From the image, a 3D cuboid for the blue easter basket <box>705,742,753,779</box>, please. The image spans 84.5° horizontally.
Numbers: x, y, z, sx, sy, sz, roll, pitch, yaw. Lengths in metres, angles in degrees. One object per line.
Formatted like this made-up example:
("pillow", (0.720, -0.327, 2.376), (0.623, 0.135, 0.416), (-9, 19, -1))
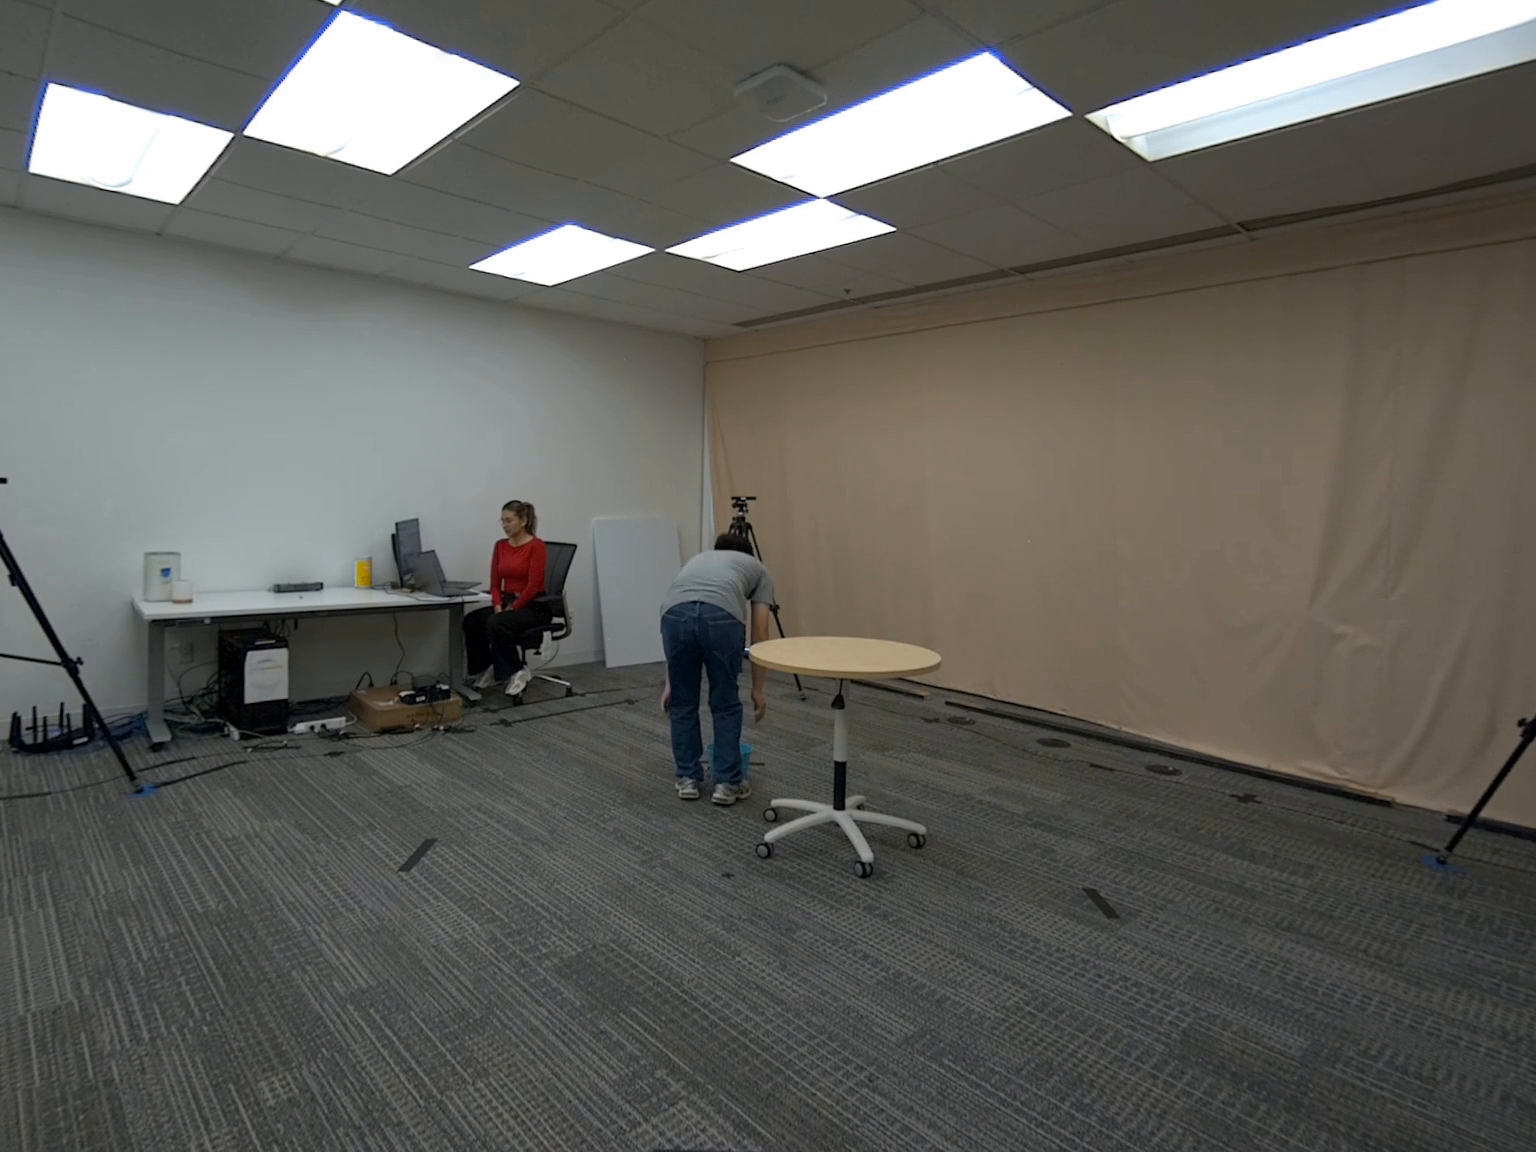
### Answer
("blue easter basket", (-0.202, 0.933, 4.214), (0.243, 0.155, 0.244), (2, 4, -1))
